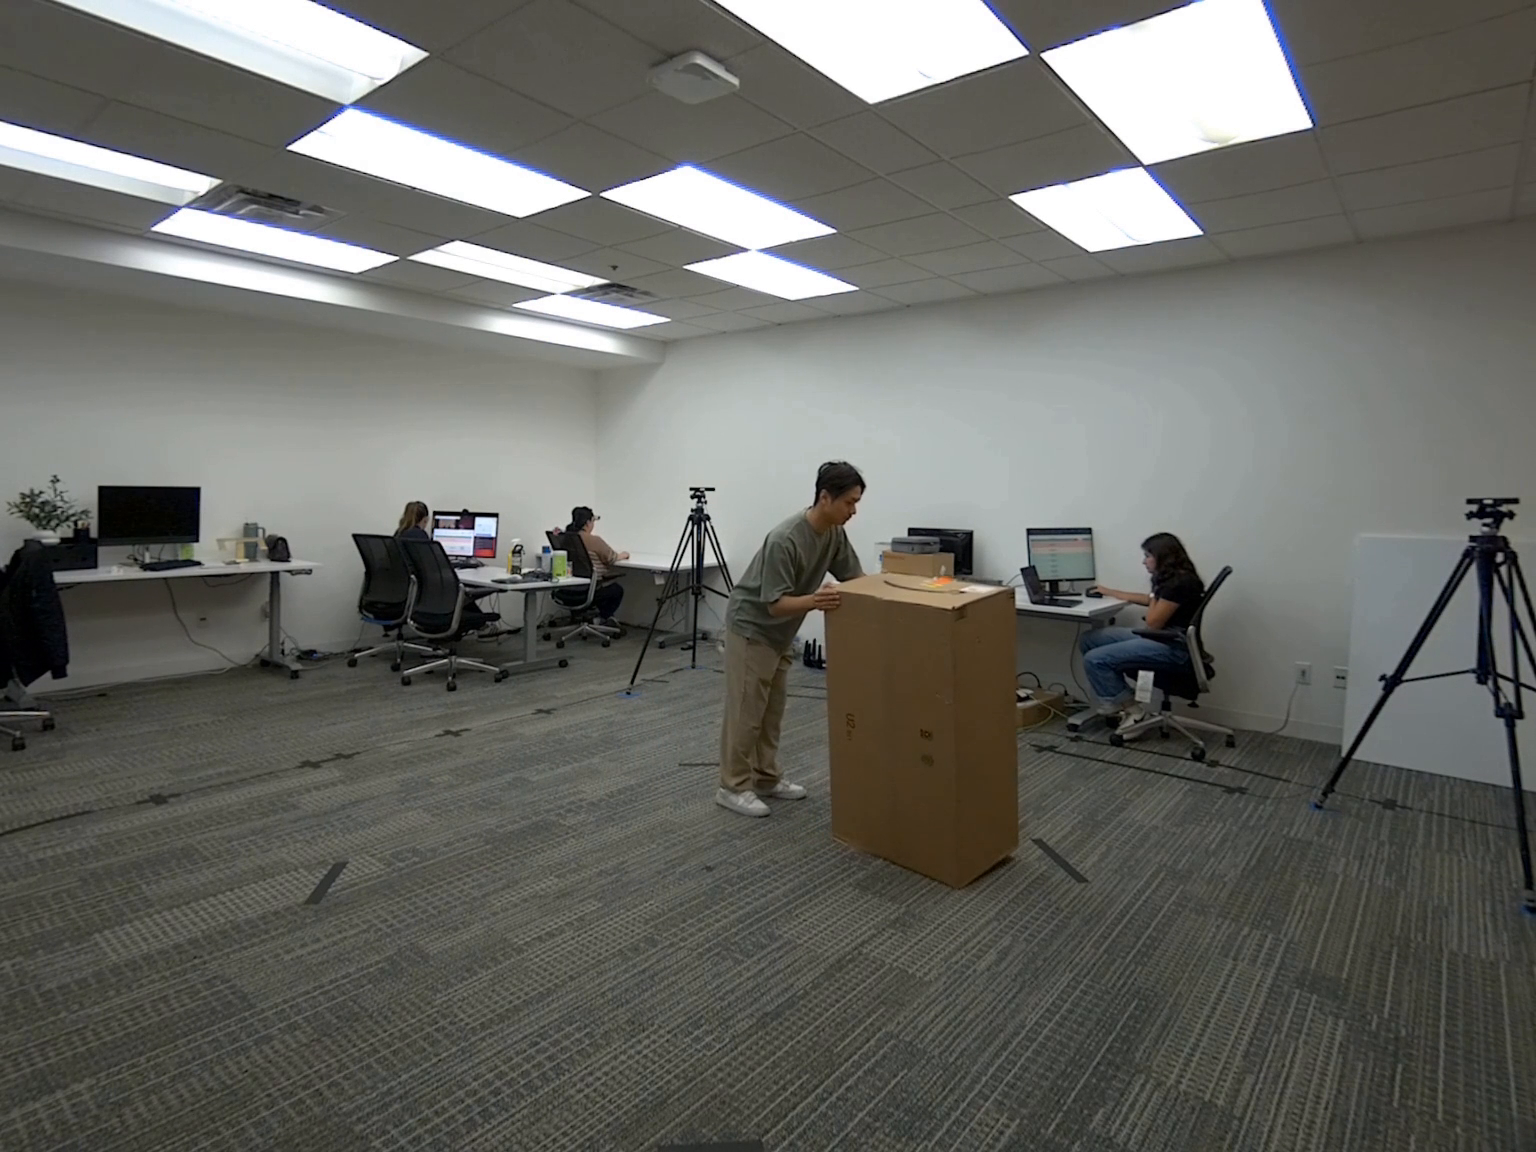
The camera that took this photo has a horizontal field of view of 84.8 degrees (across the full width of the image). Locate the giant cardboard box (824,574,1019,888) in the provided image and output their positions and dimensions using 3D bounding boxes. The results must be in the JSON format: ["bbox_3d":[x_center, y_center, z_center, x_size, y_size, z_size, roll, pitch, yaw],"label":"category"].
[{"bbox_3d":[0.580,0.545,3.268,0.415,1.018,0.597,-10,11,-44],"label":"giant cardboard box"}]
